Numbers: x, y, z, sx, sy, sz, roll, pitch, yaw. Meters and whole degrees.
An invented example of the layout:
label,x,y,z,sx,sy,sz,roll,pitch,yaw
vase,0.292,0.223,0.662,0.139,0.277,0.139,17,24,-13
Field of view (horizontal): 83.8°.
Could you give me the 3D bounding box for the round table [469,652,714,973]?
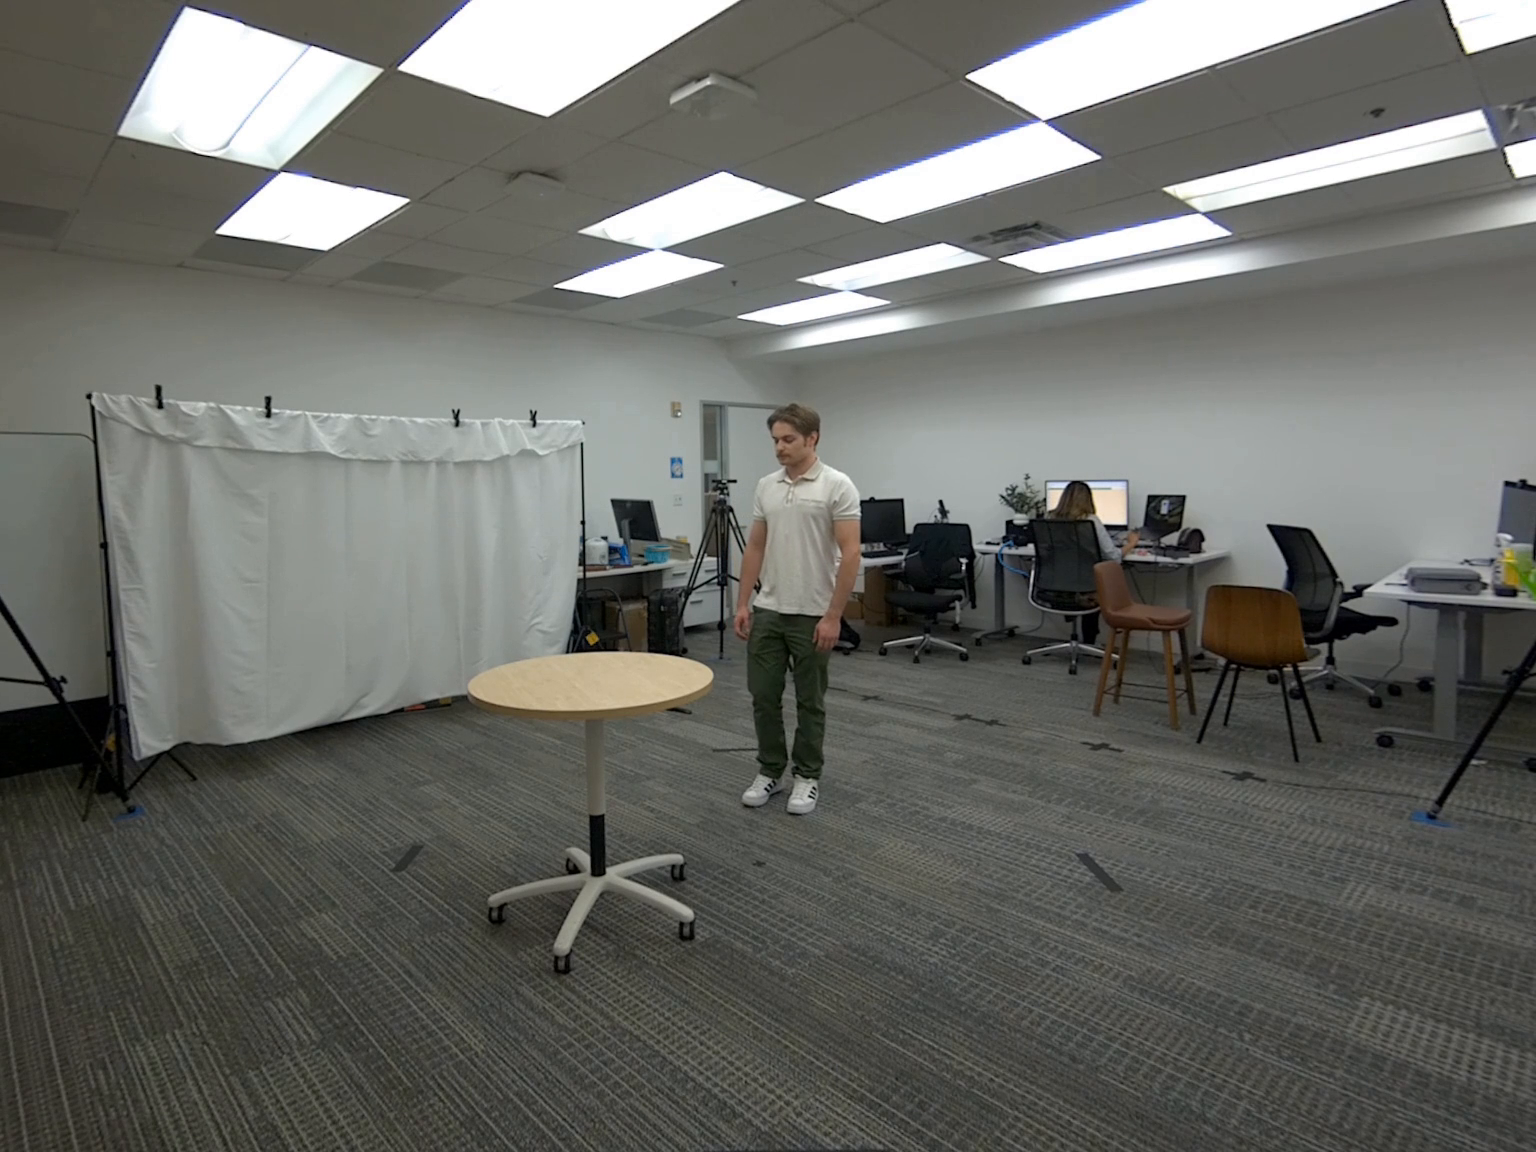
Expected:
label,x,y,z,sx,sy,sz,roll,pitch,yaw
round table,-0.547,0.705,2.753,0.784,0.783,0.790,-1,6,-2
